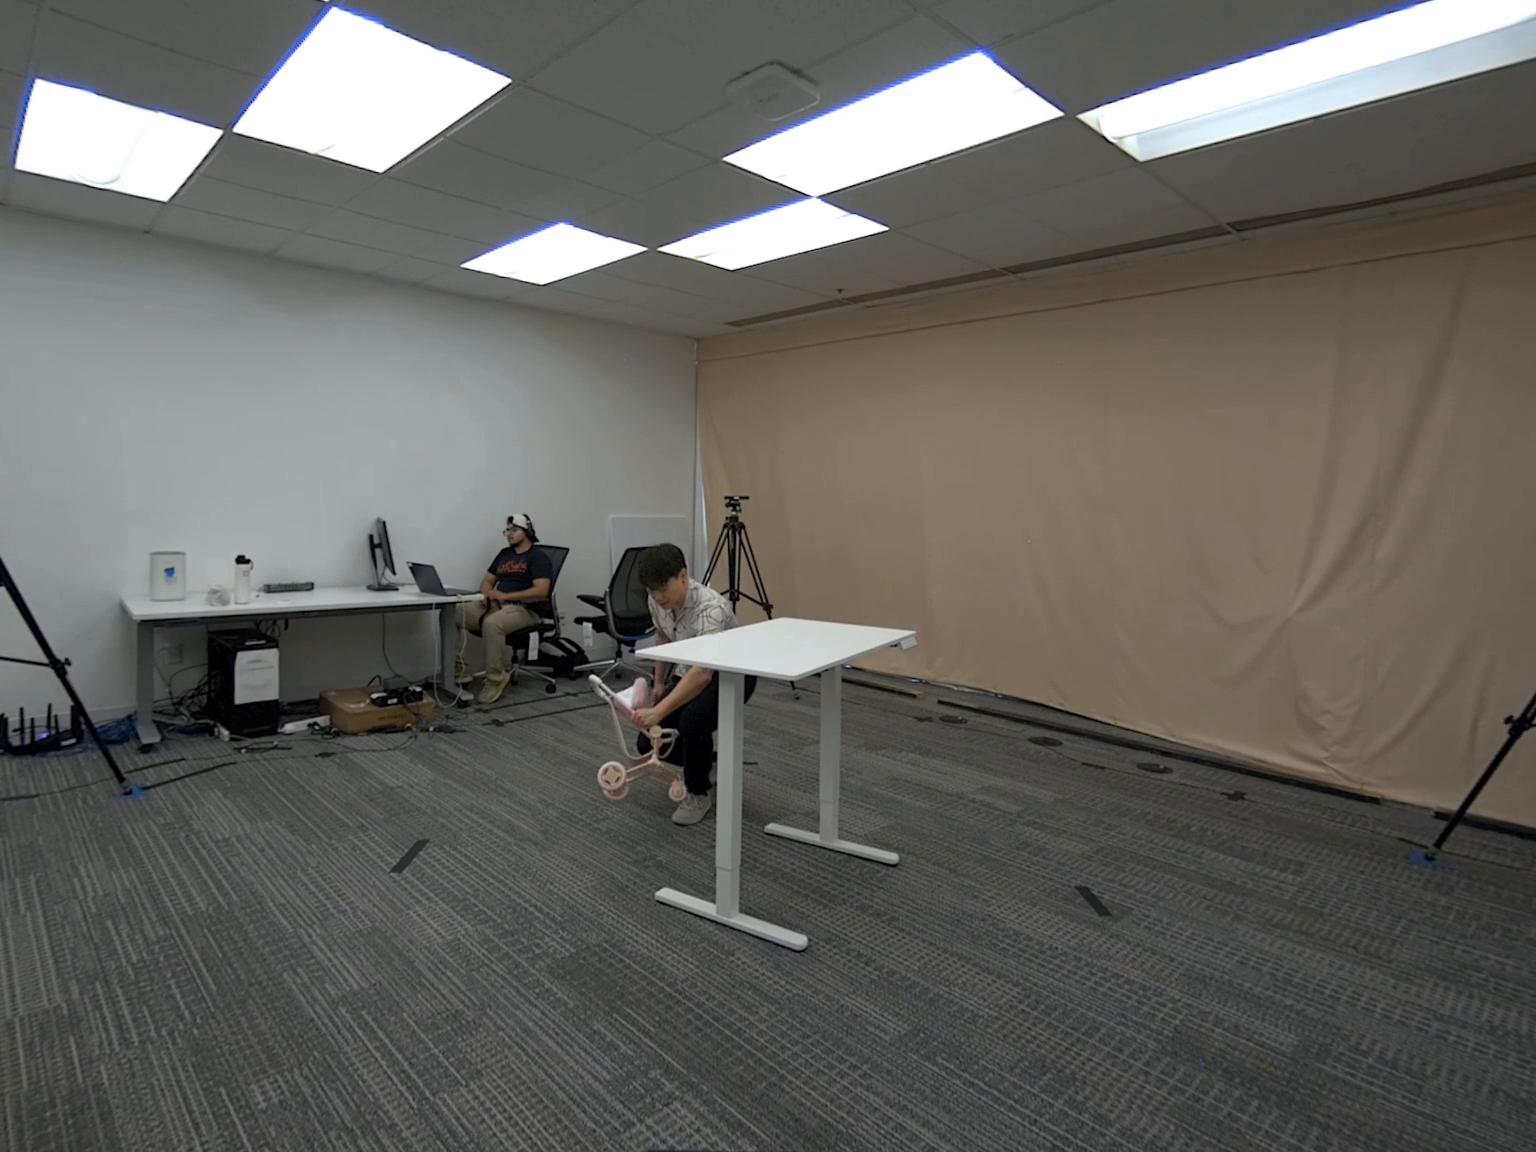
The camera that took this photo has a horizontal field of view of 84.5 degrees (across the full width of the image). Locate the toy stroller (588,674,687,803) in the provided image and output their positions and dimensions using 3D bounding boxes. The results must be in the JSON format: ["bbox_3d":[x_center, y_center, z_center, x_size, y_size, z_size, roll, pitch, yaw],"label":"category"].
[{"bbox_3d":[-0.529,0.650,3.348,0.340,0.546,0.276,-11,-25,-4],"label":"toy stroller"}]
